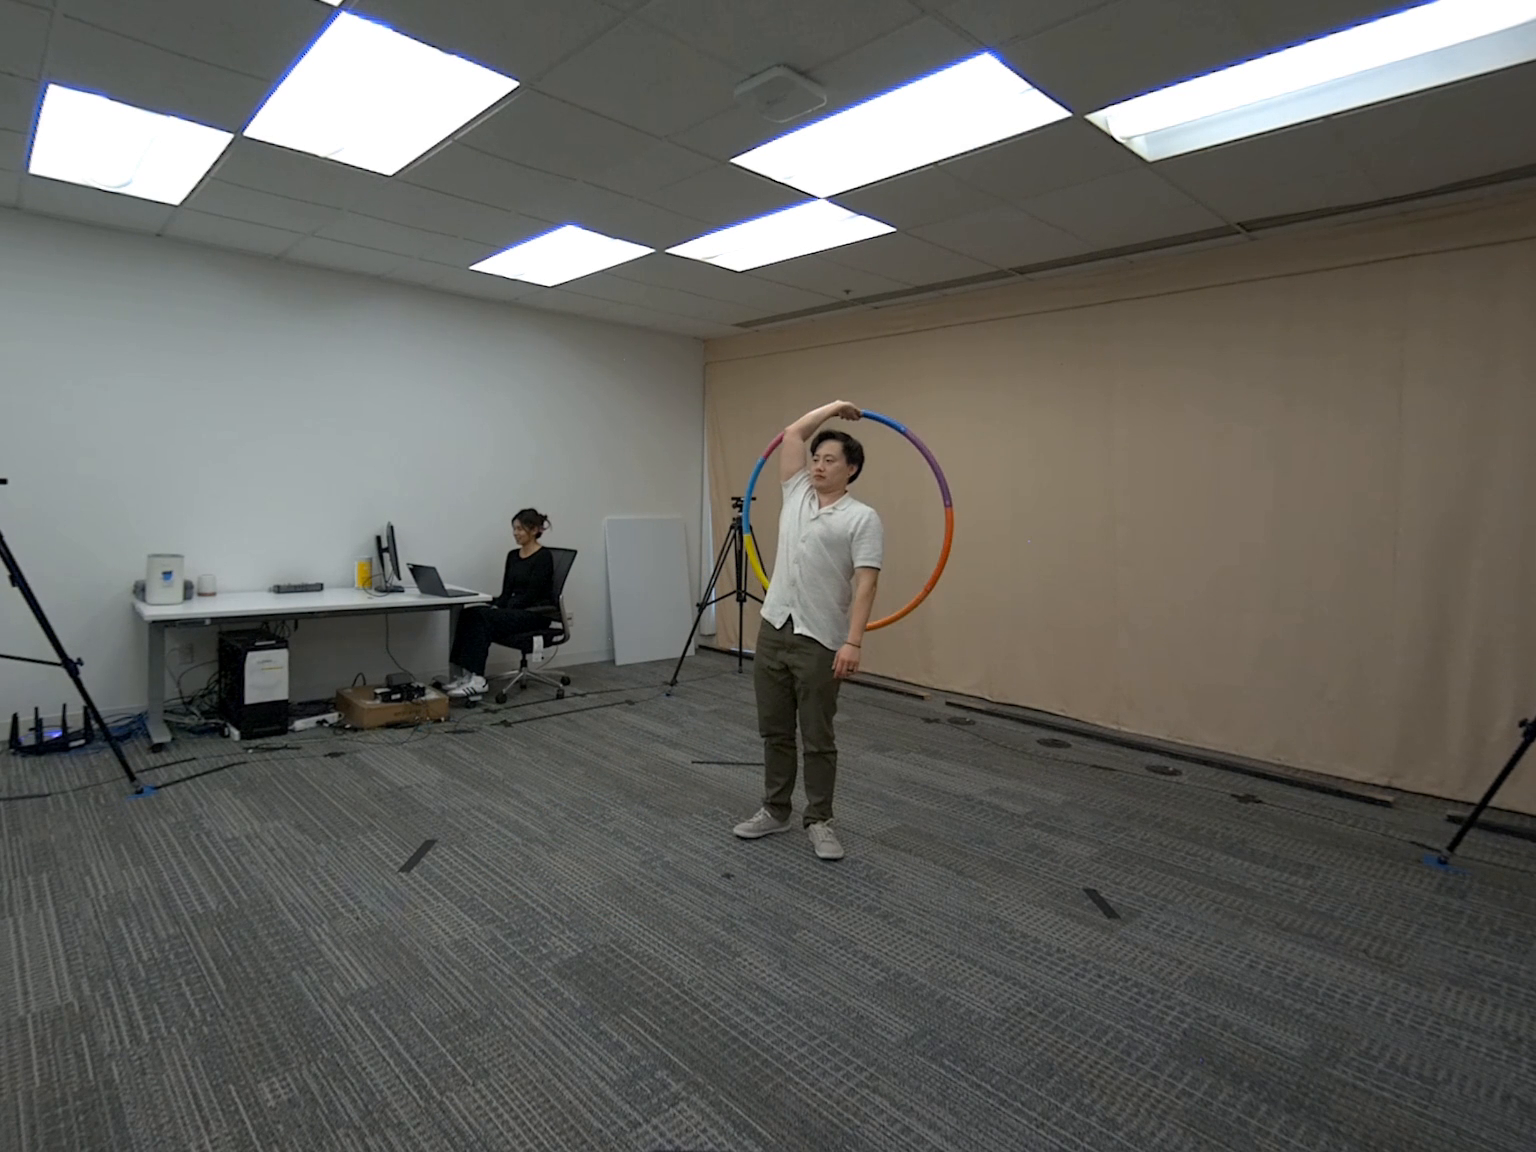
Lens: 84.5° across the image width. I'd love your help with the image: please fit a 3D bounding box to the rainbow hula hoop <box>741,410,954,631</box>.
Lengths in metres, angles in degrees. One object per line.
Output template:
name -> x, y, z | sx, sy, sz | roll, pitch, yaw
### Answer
rainbow hula hoop -> 0.317, -0.245, 3.720 | 0.998, 0.975, 0.035 | 3, 5, 26
